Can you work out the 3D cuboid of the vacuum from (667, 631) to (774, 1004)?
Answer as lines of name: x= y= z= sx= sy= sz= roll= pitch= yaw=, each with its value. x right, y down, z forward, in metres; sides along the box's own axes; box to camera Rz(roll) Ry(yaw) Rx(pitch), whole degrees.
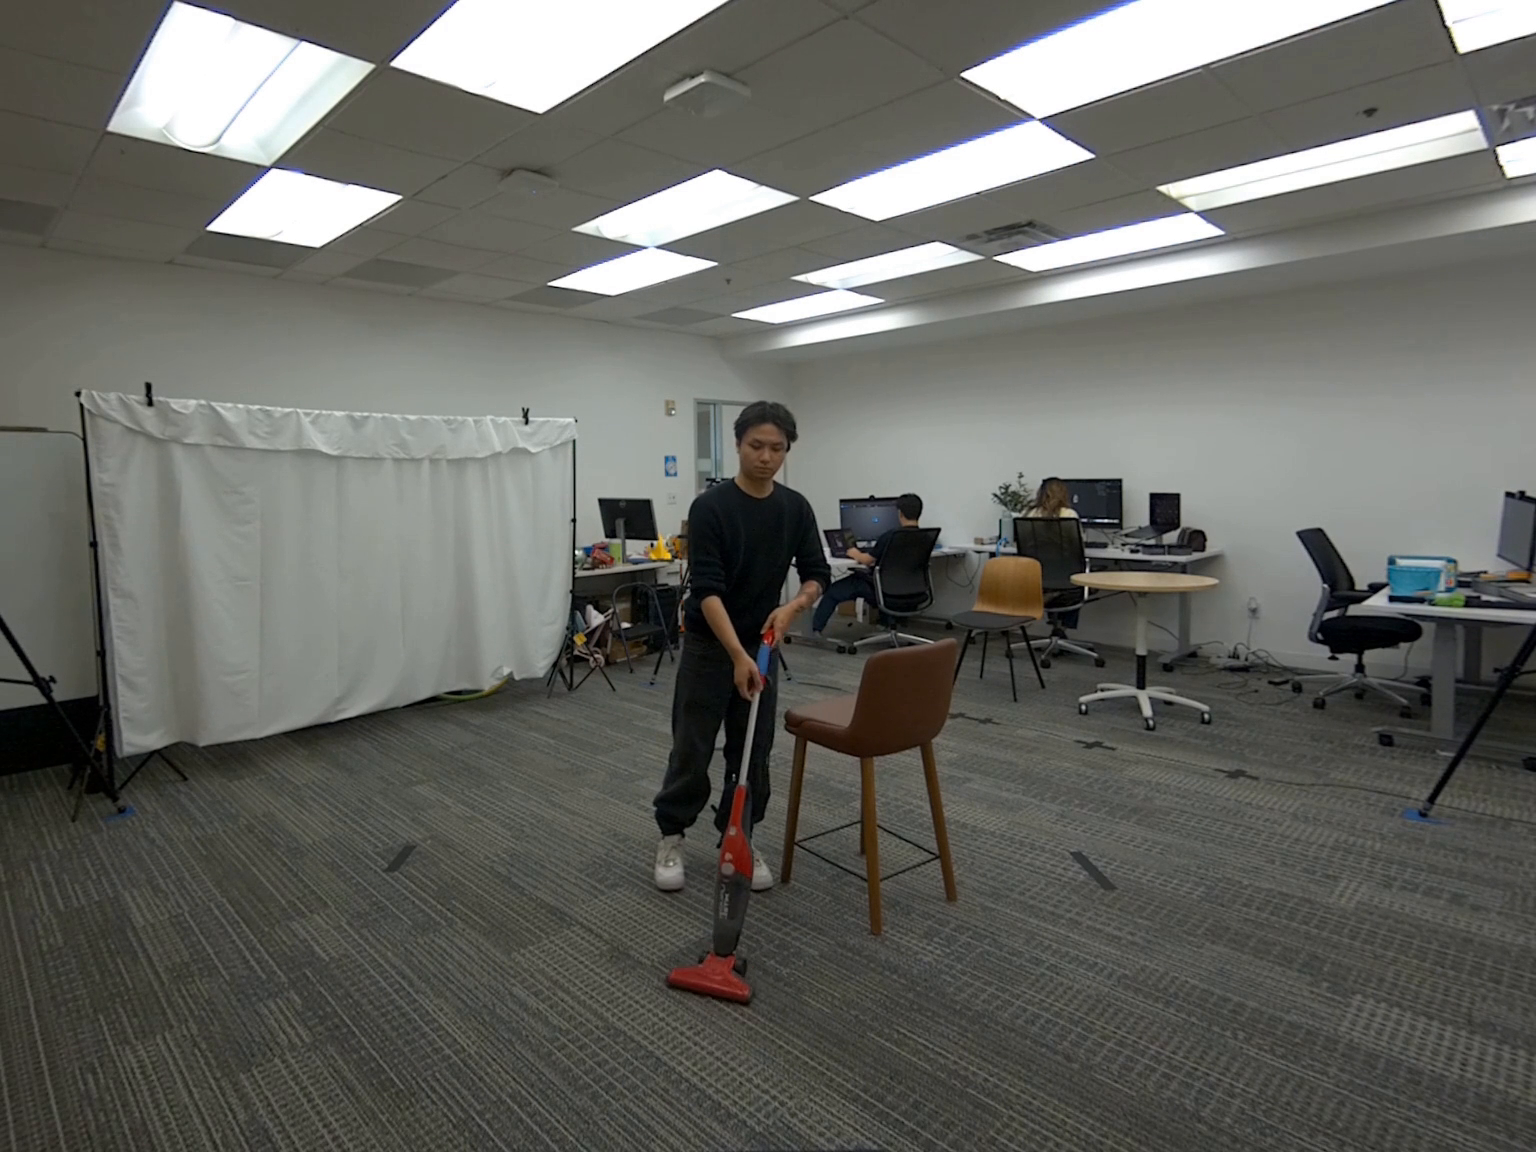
vacuum: x=-0.069 y=0.648 z=2.574 sx=0.257 sy=1.066 sz=0.139 roll=0 pitch=-23 yaw=20
